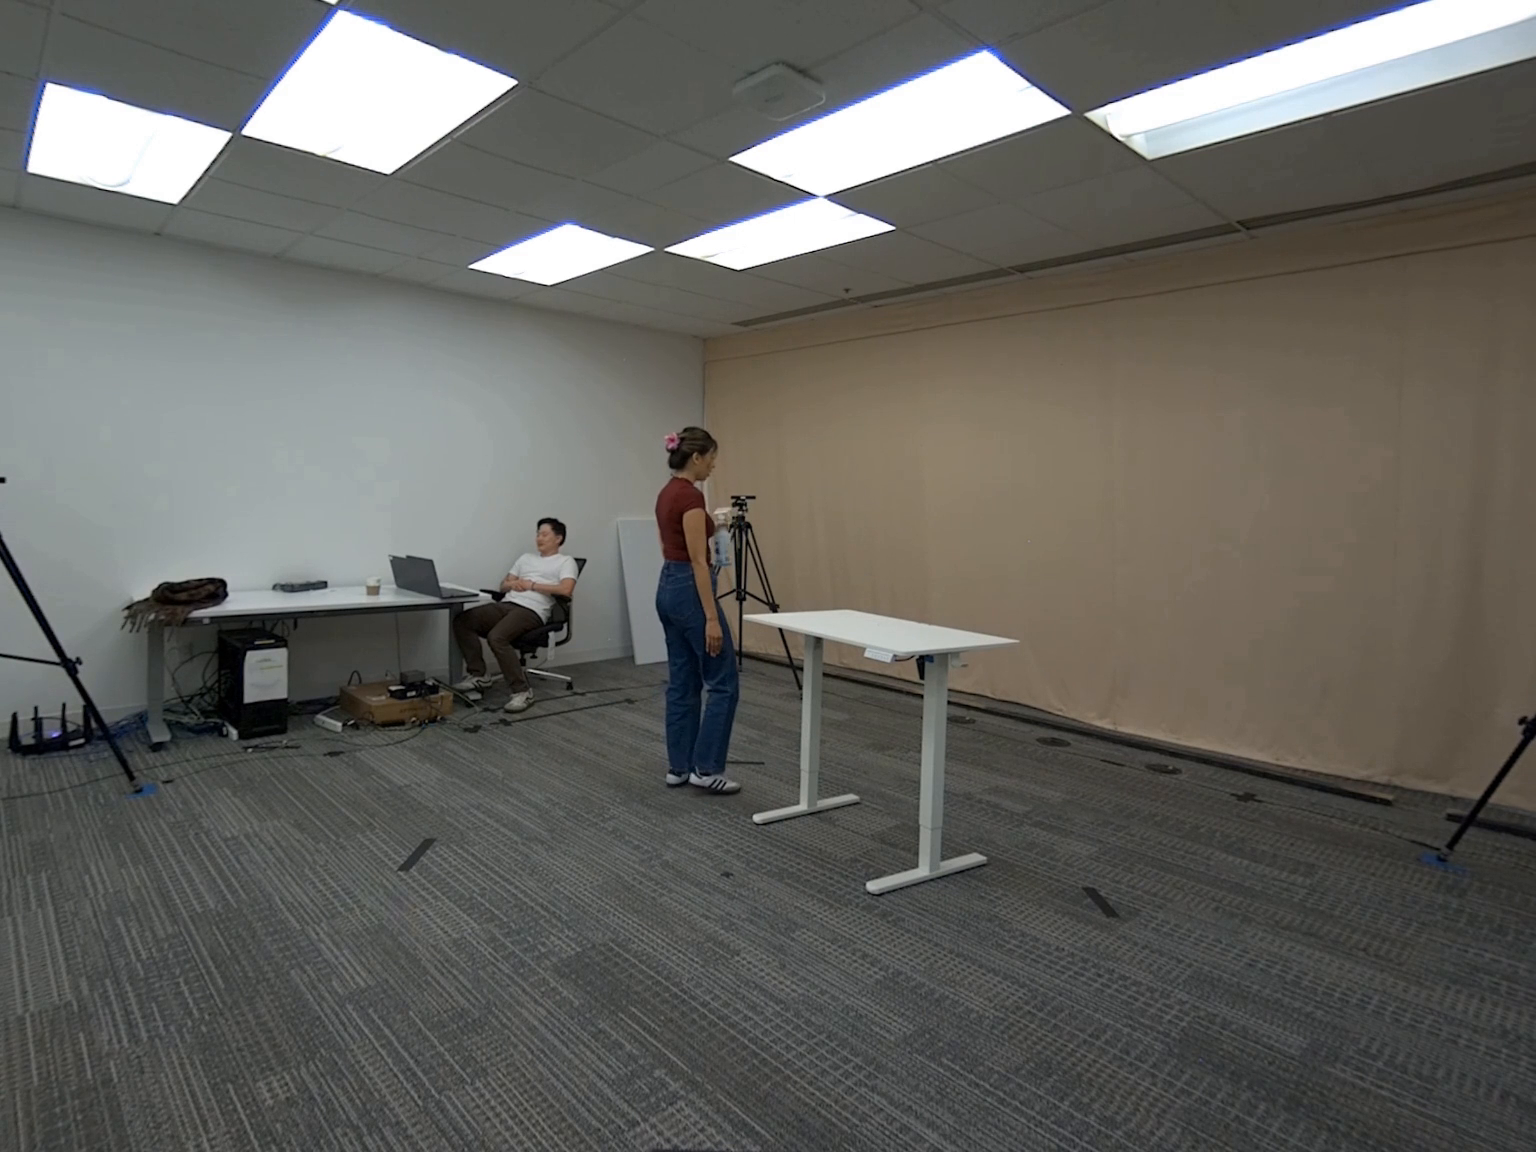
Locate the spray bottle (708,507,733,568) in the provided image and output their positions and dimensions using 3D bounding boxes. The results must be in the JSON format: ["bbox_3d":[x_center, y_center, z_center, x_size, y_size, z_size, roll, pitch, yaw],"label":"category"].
[{"bbox_3d":[-0.245,-0.201,4.323,0.092,0.296,0.085,2,5,27],"label":"spray bottle"}]
